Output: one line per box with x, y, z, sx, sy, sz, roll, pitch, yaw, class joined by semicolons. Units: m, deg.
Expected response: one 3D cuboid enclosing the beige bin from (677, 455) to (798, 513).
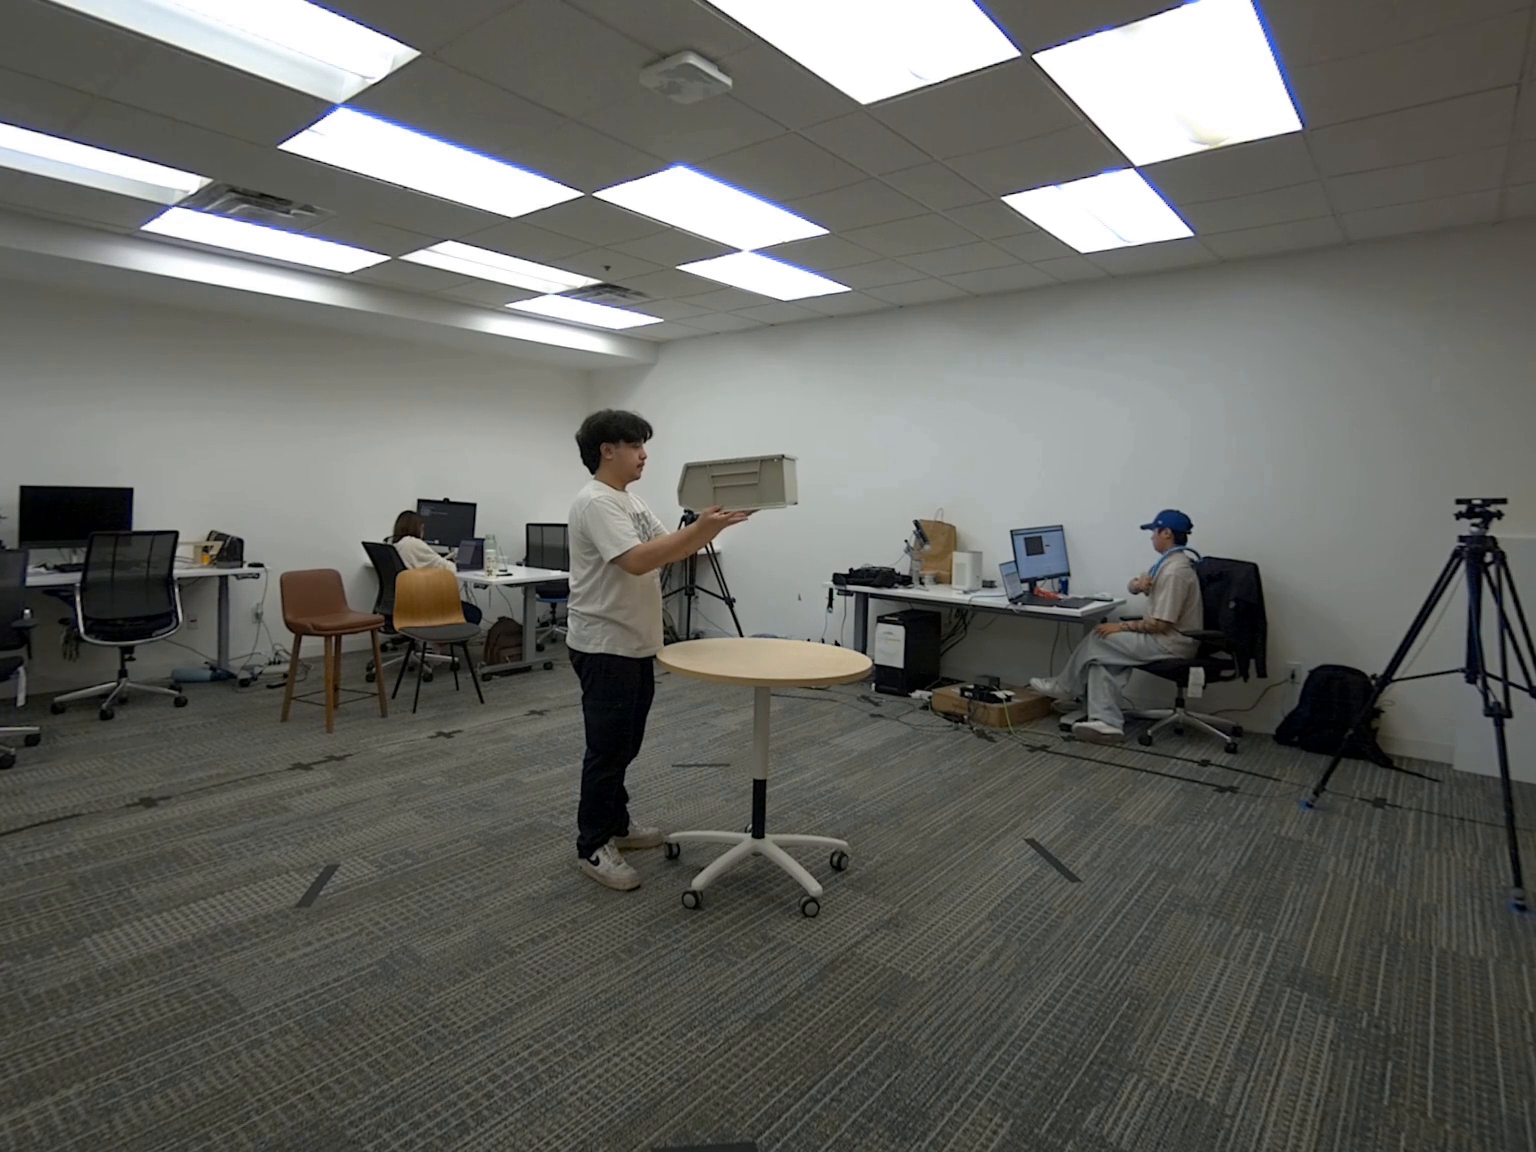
-0.105;-0.327;3.059;0.381;0.188;0.419;-3;4;10;beige bin
